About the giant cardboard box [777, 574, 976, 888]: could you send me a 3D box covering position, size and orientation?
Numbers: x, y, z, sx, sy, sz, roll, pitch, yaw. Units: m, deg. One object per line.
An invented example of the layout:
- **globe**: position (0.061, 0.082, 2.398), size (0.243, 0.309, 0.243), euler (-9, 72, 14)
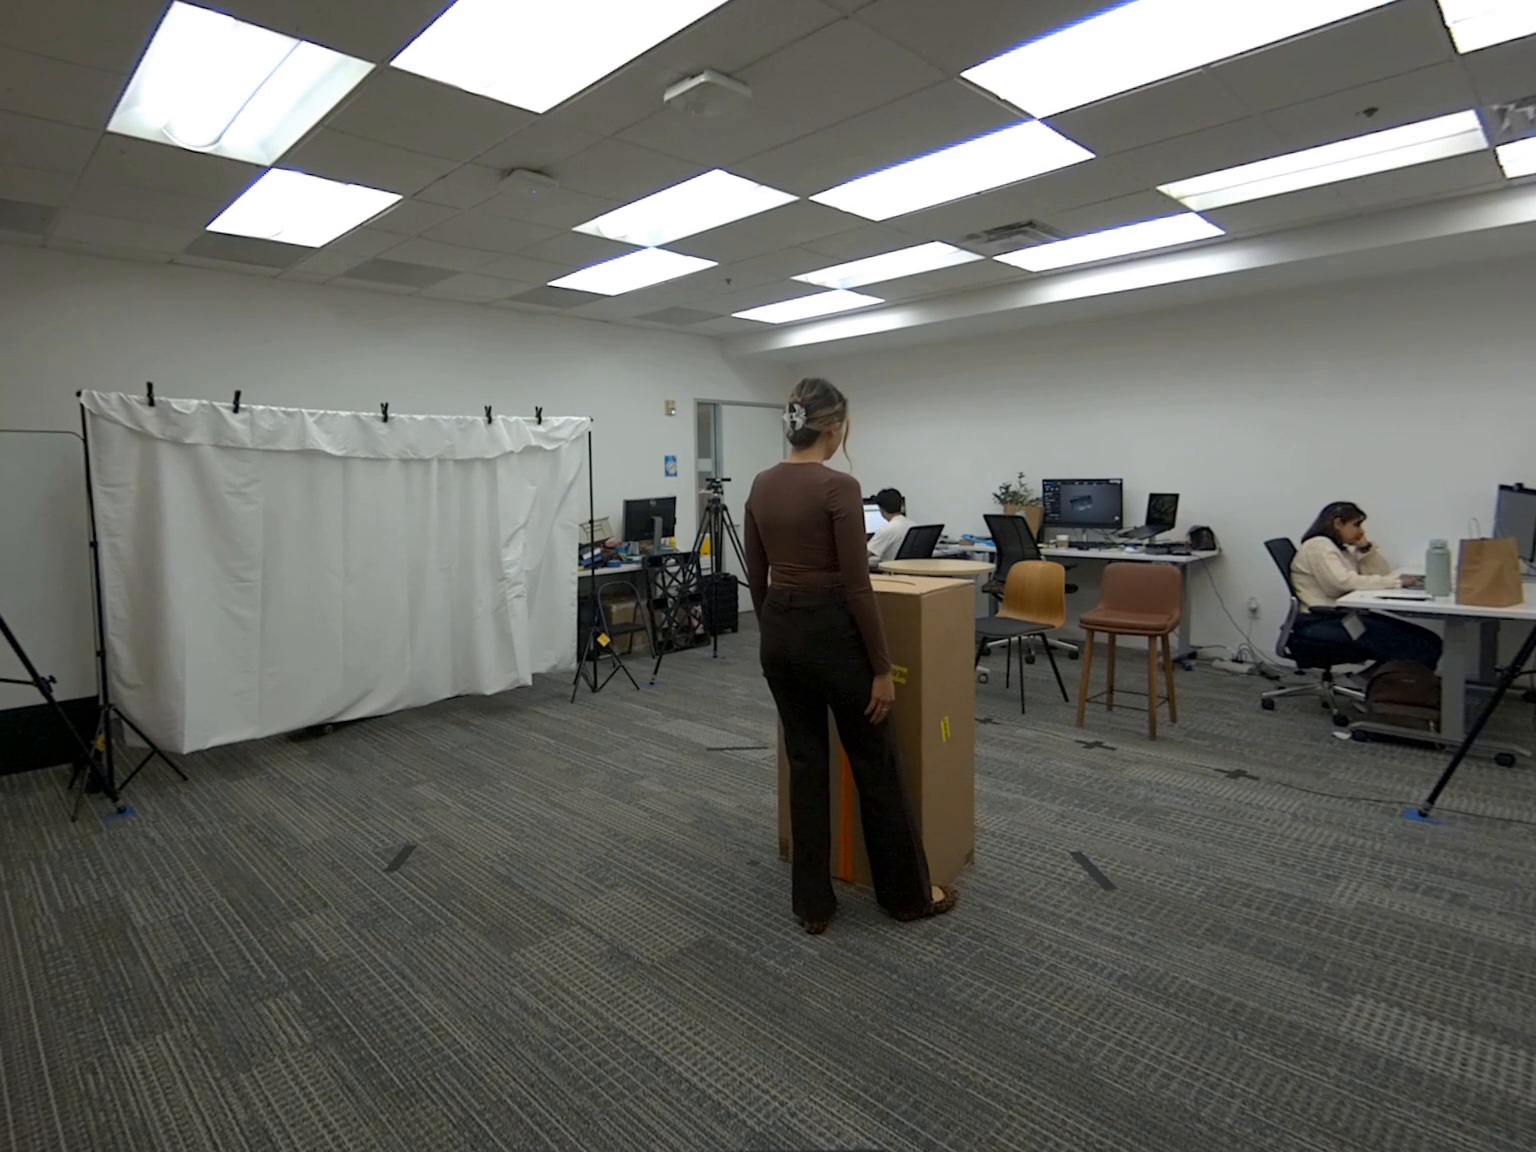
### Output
- **giant cardboard box**: position (0.389, 0.526, 3.078), size (0.601, 1.023, 0.435), euler (3, 6, 39)
